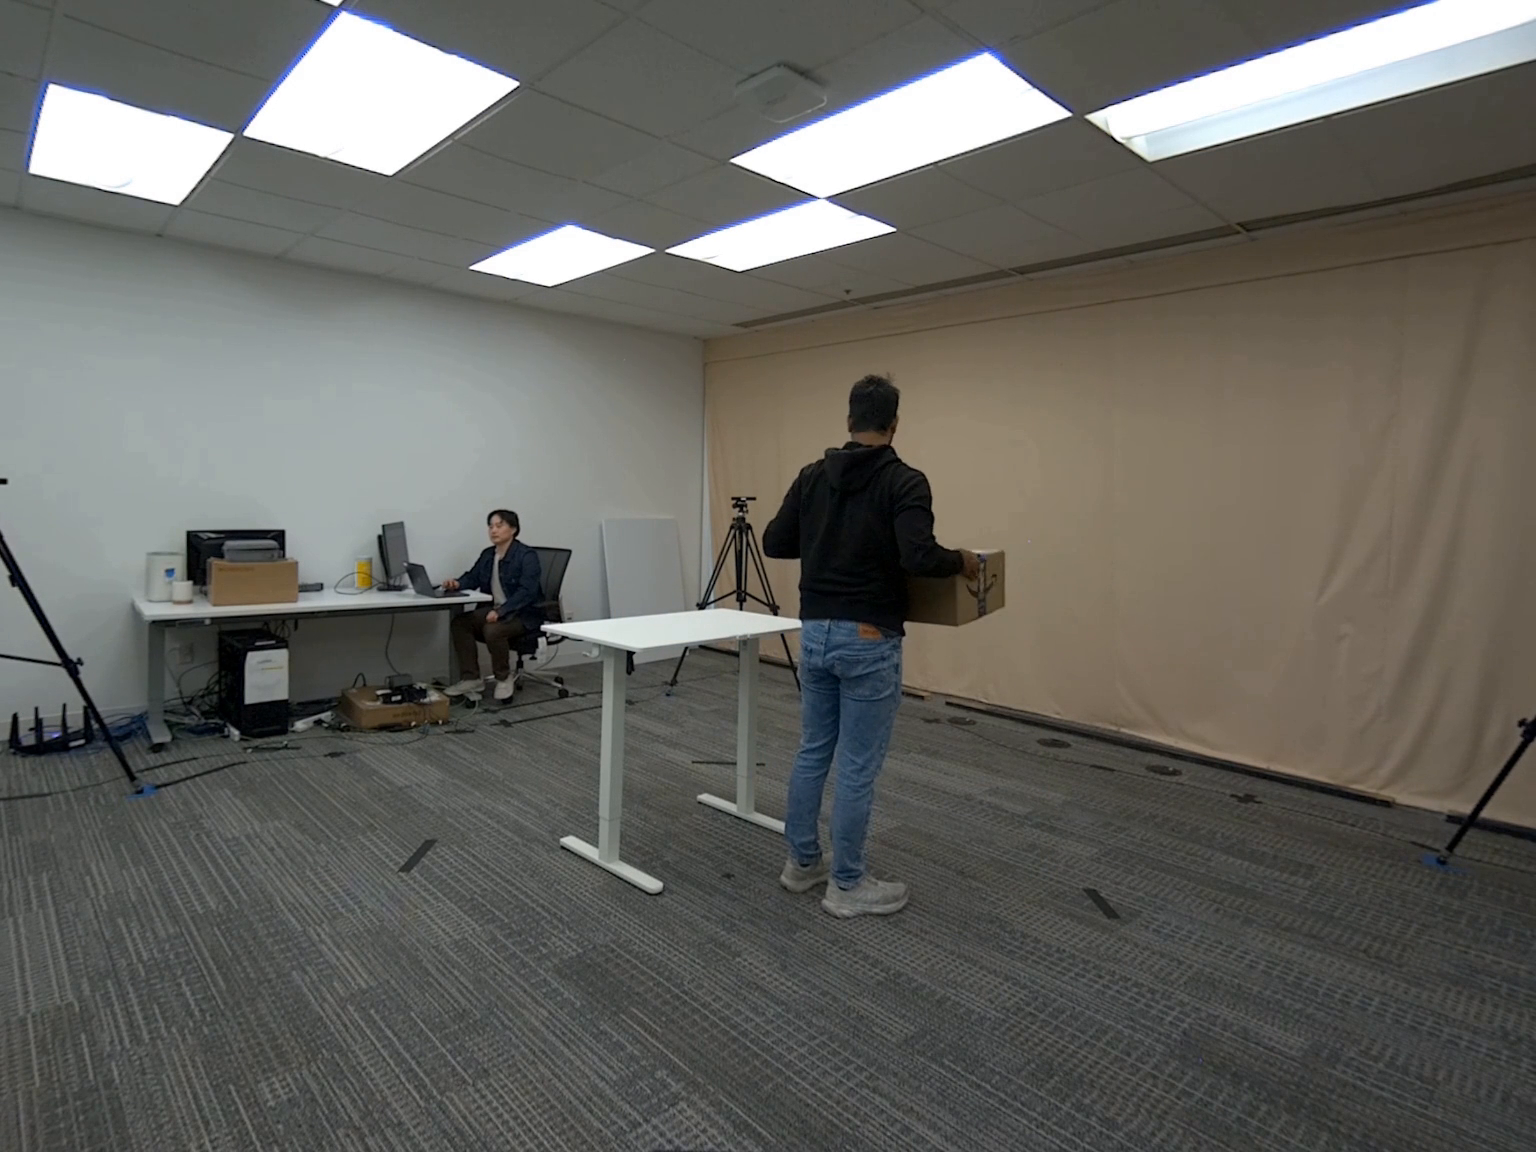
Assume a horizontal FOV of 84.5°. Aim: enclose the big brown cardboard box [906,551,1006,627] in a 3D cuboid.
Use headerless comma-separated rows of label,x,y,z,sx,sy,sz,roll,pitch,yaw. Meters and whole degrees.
big brown cardboard box,0.520,0.029,3.136,0.603,0.232,0.410,3,9,38
